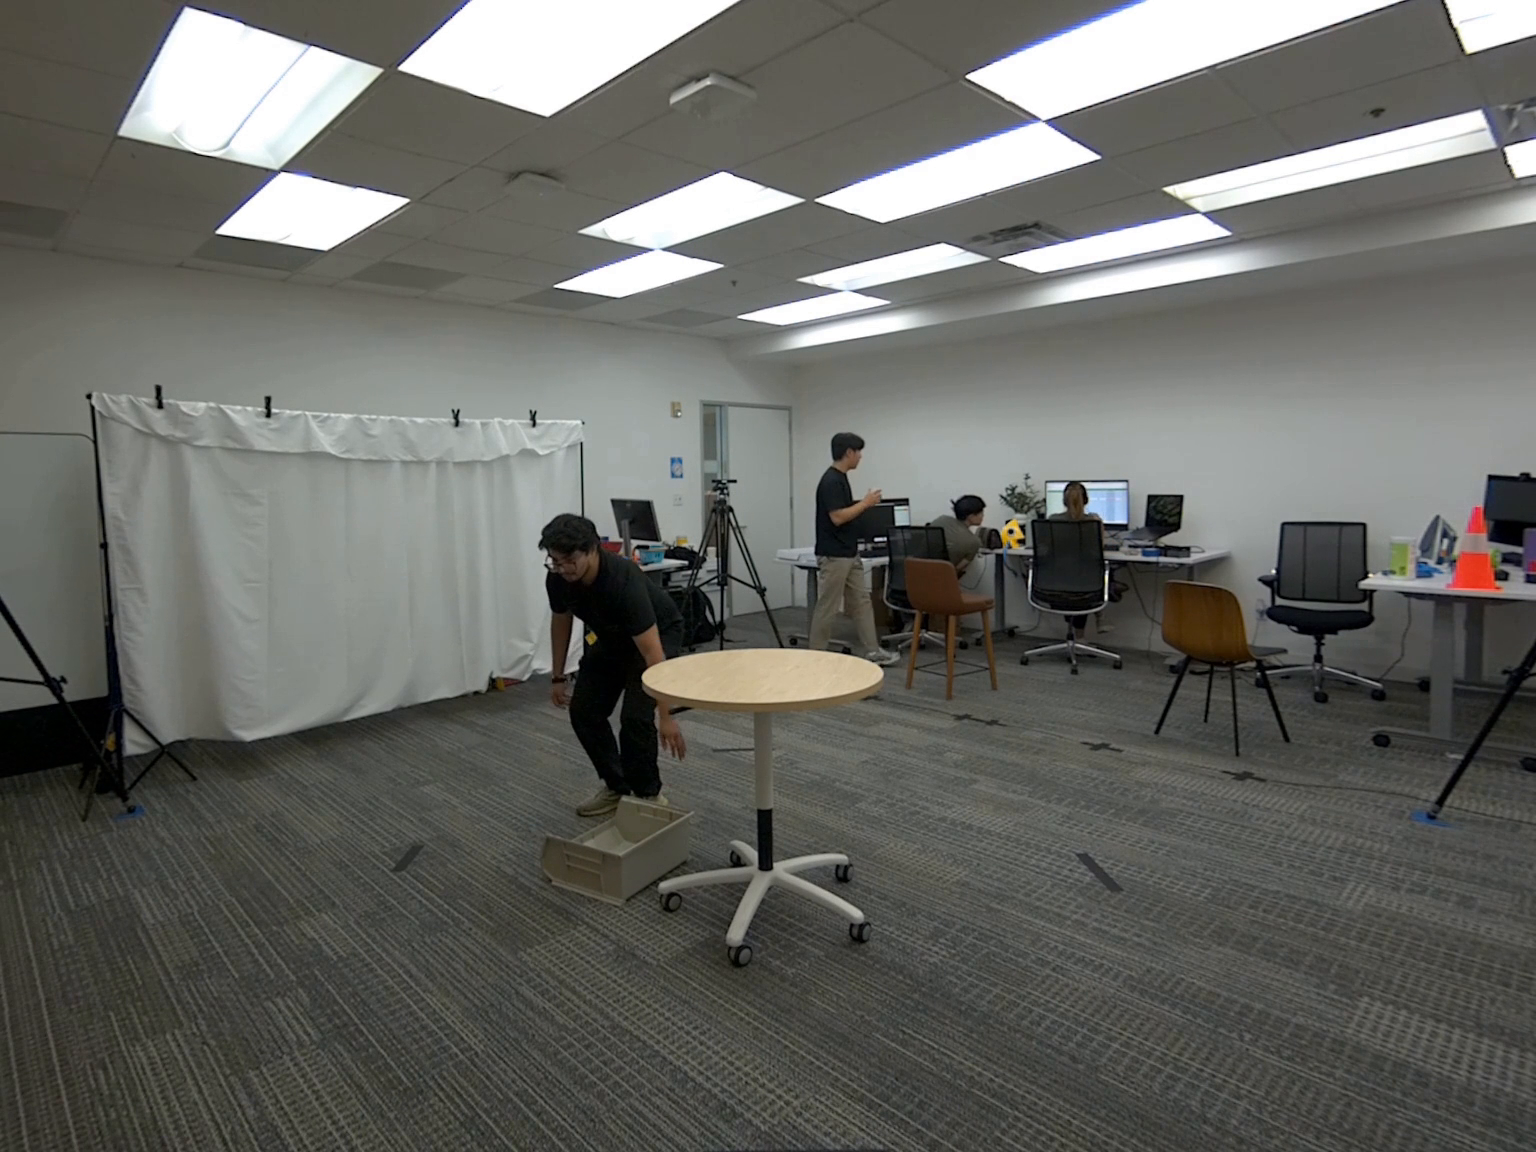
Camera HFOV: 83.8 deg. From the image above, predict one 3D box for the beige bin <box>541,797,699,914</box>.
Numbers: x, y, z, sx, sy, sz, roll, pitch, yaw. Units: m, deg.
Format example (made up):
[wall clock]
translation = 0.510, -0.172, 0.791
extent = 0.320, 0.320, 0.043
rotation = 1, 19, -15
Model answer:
[beige bin]
translation = -0.526, 0.974, 3.070
extent = 0.388, 0.188, 0.413
rotation = 4, 7, 31
